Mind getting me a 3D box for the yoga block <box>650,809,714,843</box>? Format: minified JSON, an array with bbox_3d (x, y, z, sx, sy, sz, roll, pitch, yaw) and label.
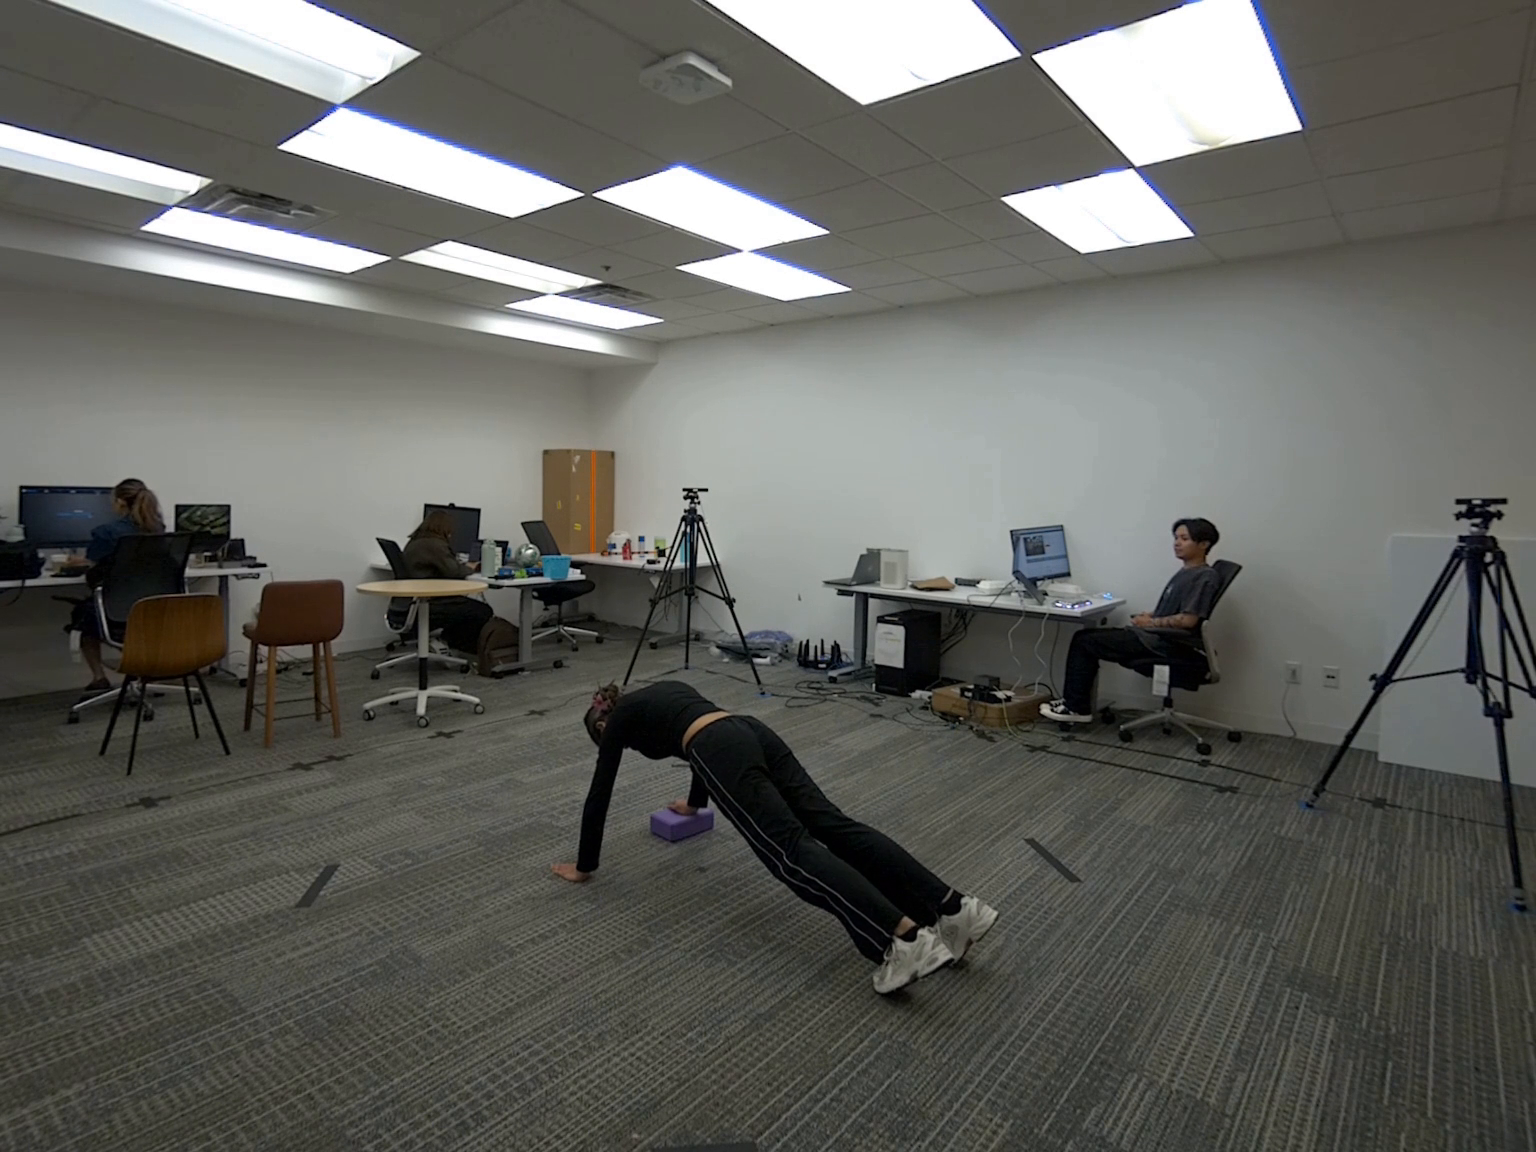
[{"bbox_3d":[-0.360,0.997,3.460,0.222,0.076,0.154,-1,5,-43],"label":"yoga block"}]
